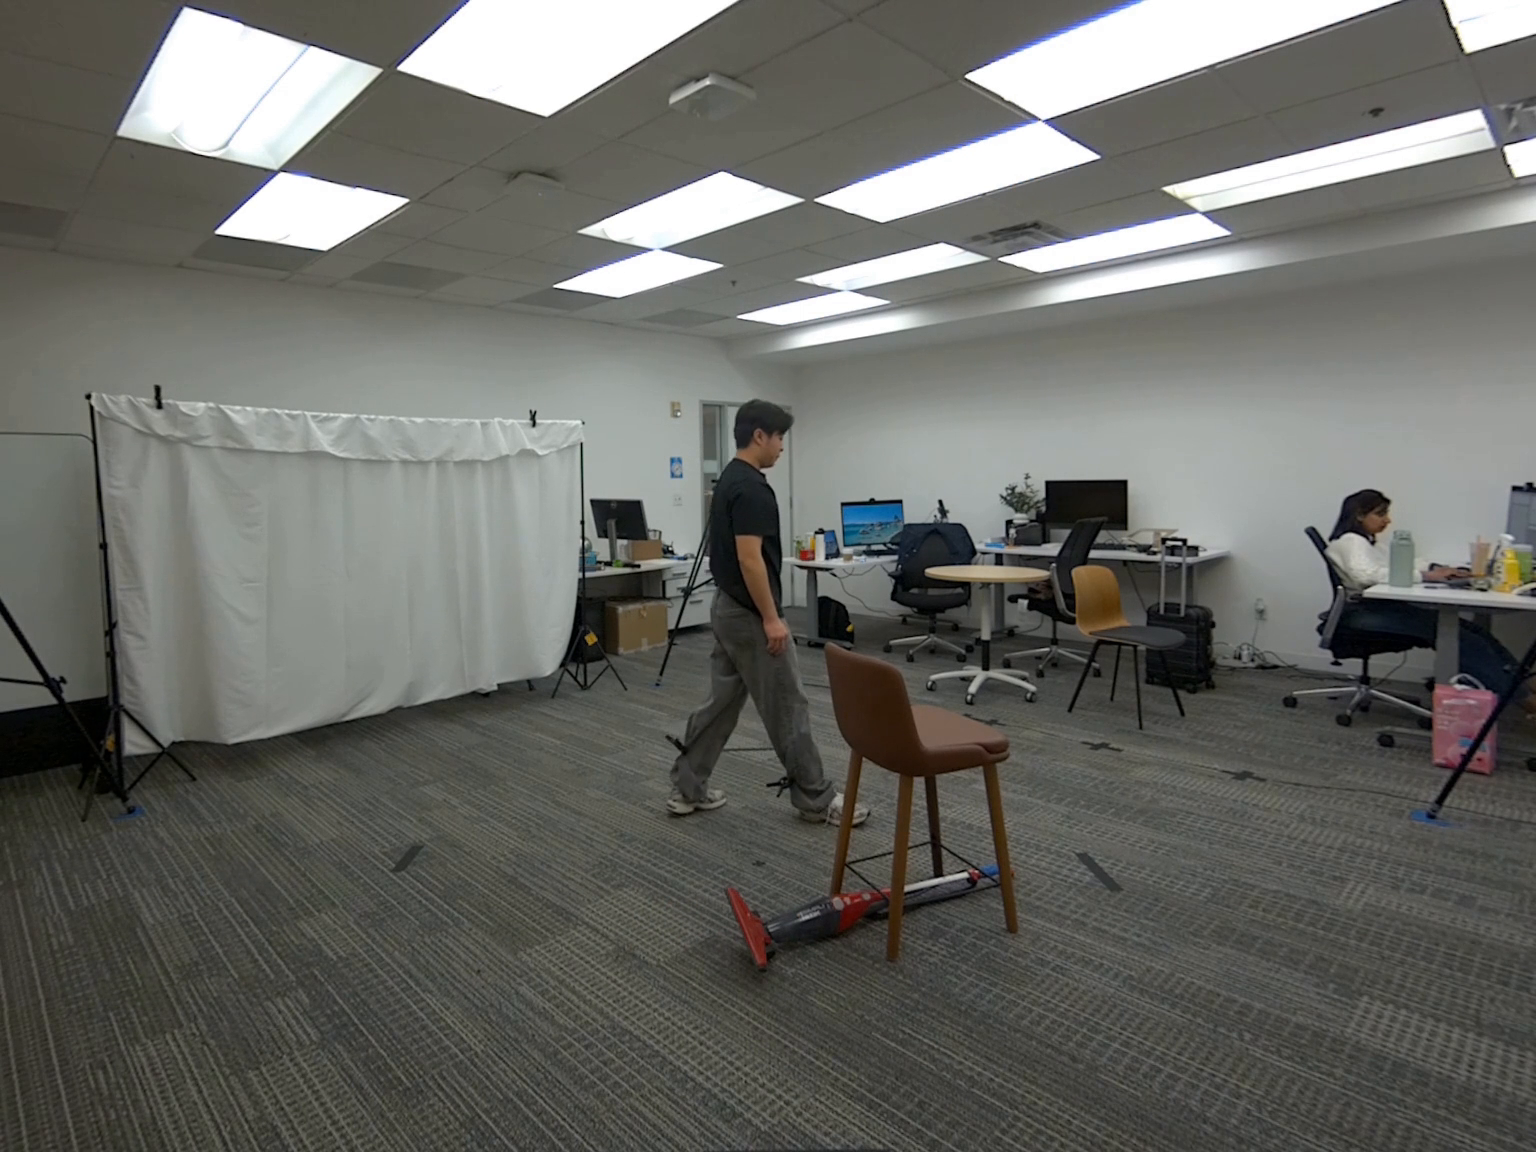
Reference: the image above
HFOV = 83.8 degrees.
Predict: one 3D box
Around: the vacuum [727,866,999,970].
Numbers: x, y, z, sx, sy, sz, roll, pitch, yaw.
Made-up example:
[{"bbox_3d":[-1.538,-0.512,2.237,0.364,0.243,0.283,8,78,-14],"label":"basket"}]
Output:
[{"bbox_3d":[0.396,1.040,2.718,1.023,0.142,0.262,1,39,-28],"label":"vacuum"}]
